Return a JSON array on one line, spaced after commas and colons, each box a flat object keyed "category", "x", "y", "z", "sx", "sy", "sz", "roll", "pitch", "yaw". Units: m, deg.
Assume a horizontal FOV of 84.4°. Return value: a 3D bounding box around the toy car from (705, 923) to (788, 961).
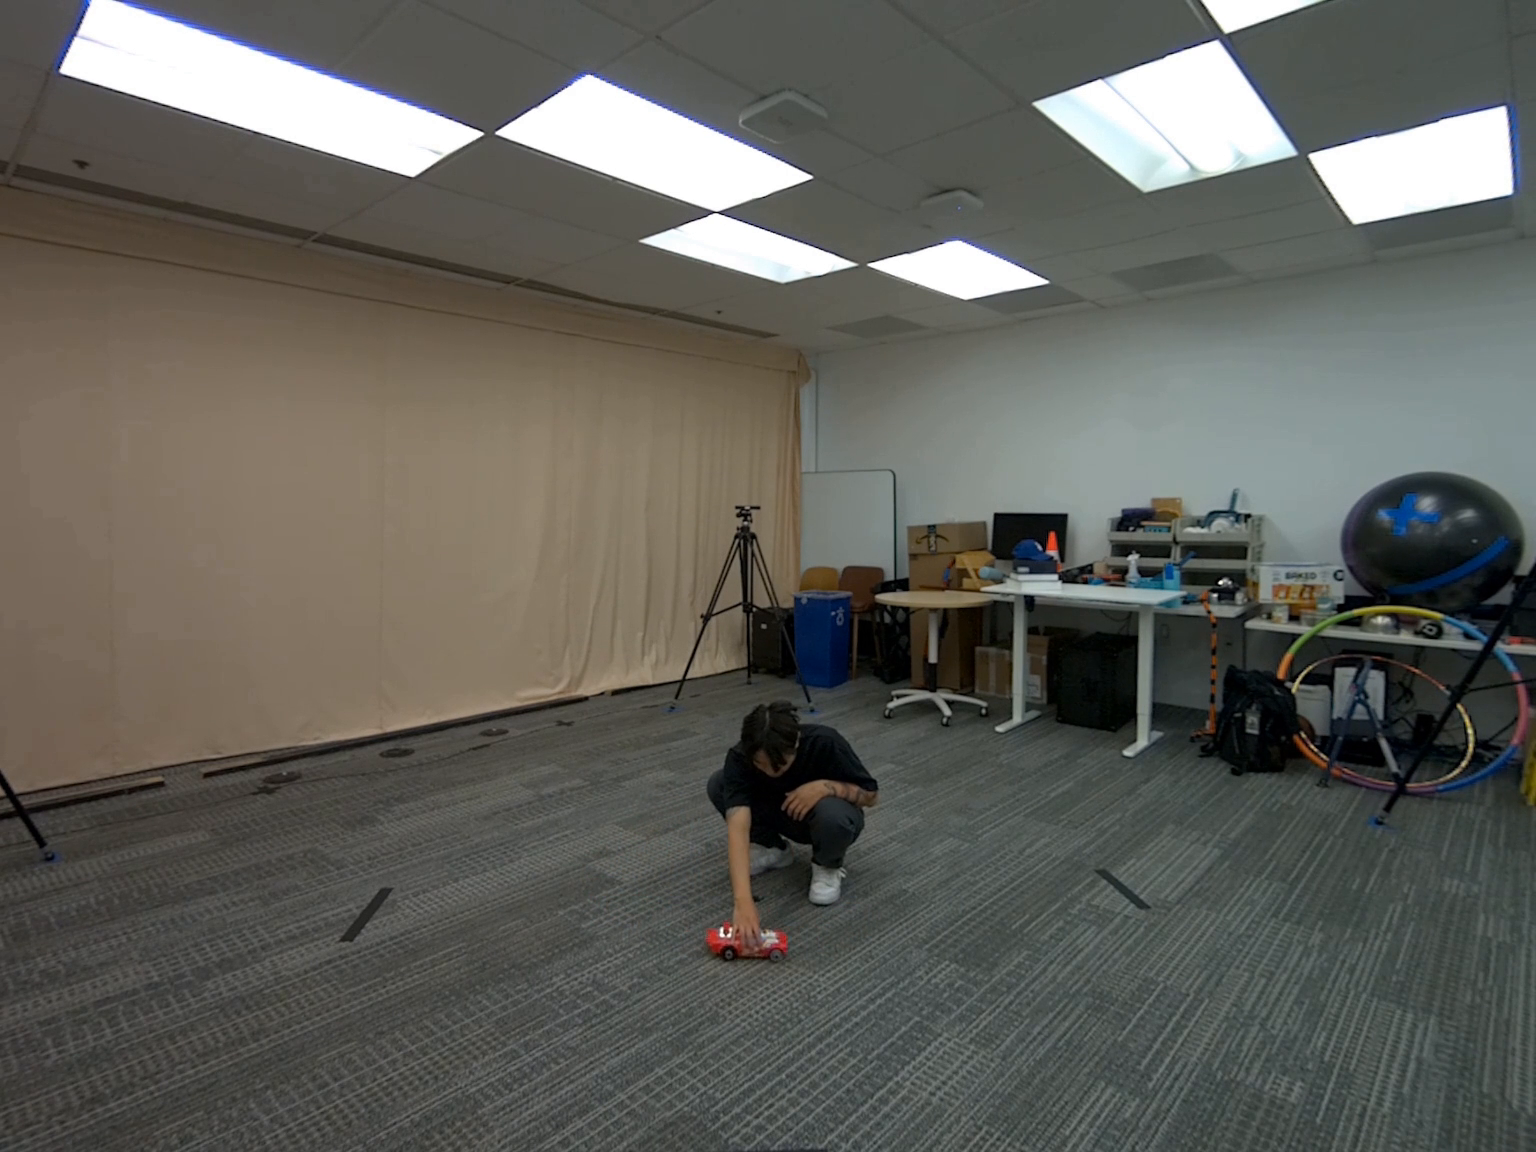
[{"category": "toy car", "x": -0.073, "y": 1.135, "z": 2.630, "sx": 0.255, "sy": 0.083, "sz": 0.130, "roll": 9, "pitch": 5, "yaw": 2}]
